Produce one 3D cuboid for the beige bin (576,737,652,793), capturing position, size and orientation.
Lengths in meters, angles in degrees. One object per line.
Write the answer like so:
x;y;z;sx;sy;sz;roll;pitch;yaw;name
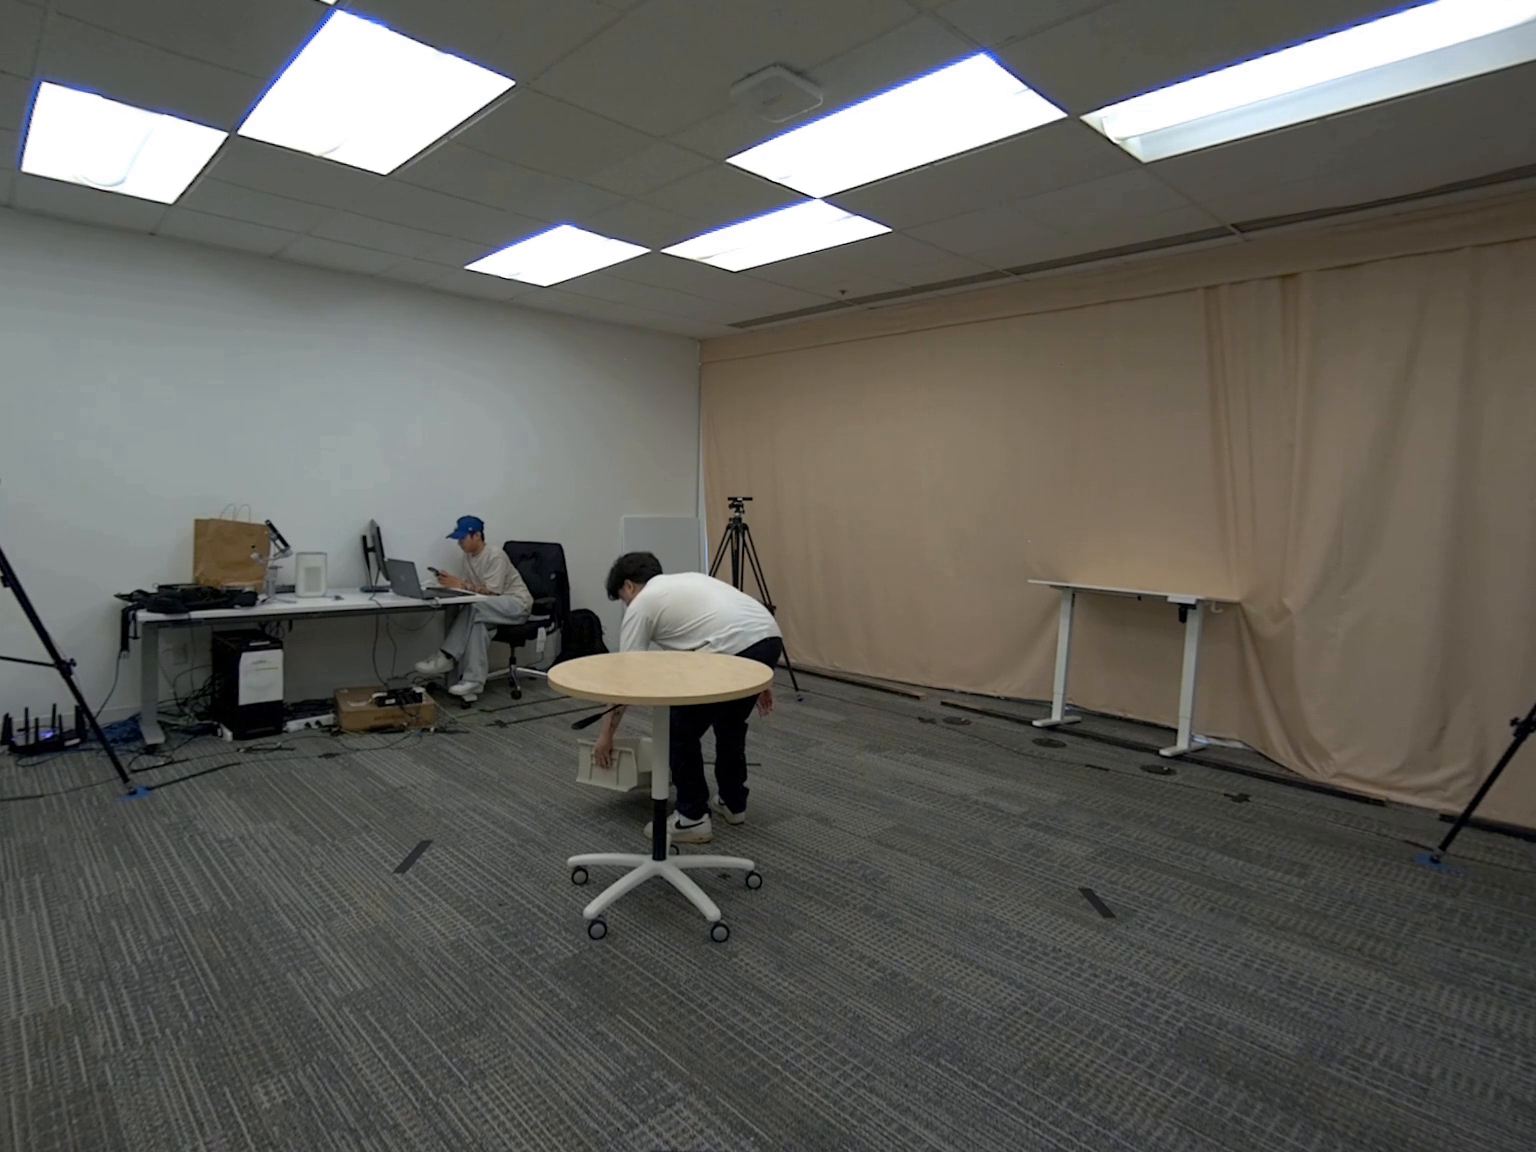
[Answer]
-0.593;0.835;3.762;0.386;0.190;0.411;0;-6;35;beige bin
